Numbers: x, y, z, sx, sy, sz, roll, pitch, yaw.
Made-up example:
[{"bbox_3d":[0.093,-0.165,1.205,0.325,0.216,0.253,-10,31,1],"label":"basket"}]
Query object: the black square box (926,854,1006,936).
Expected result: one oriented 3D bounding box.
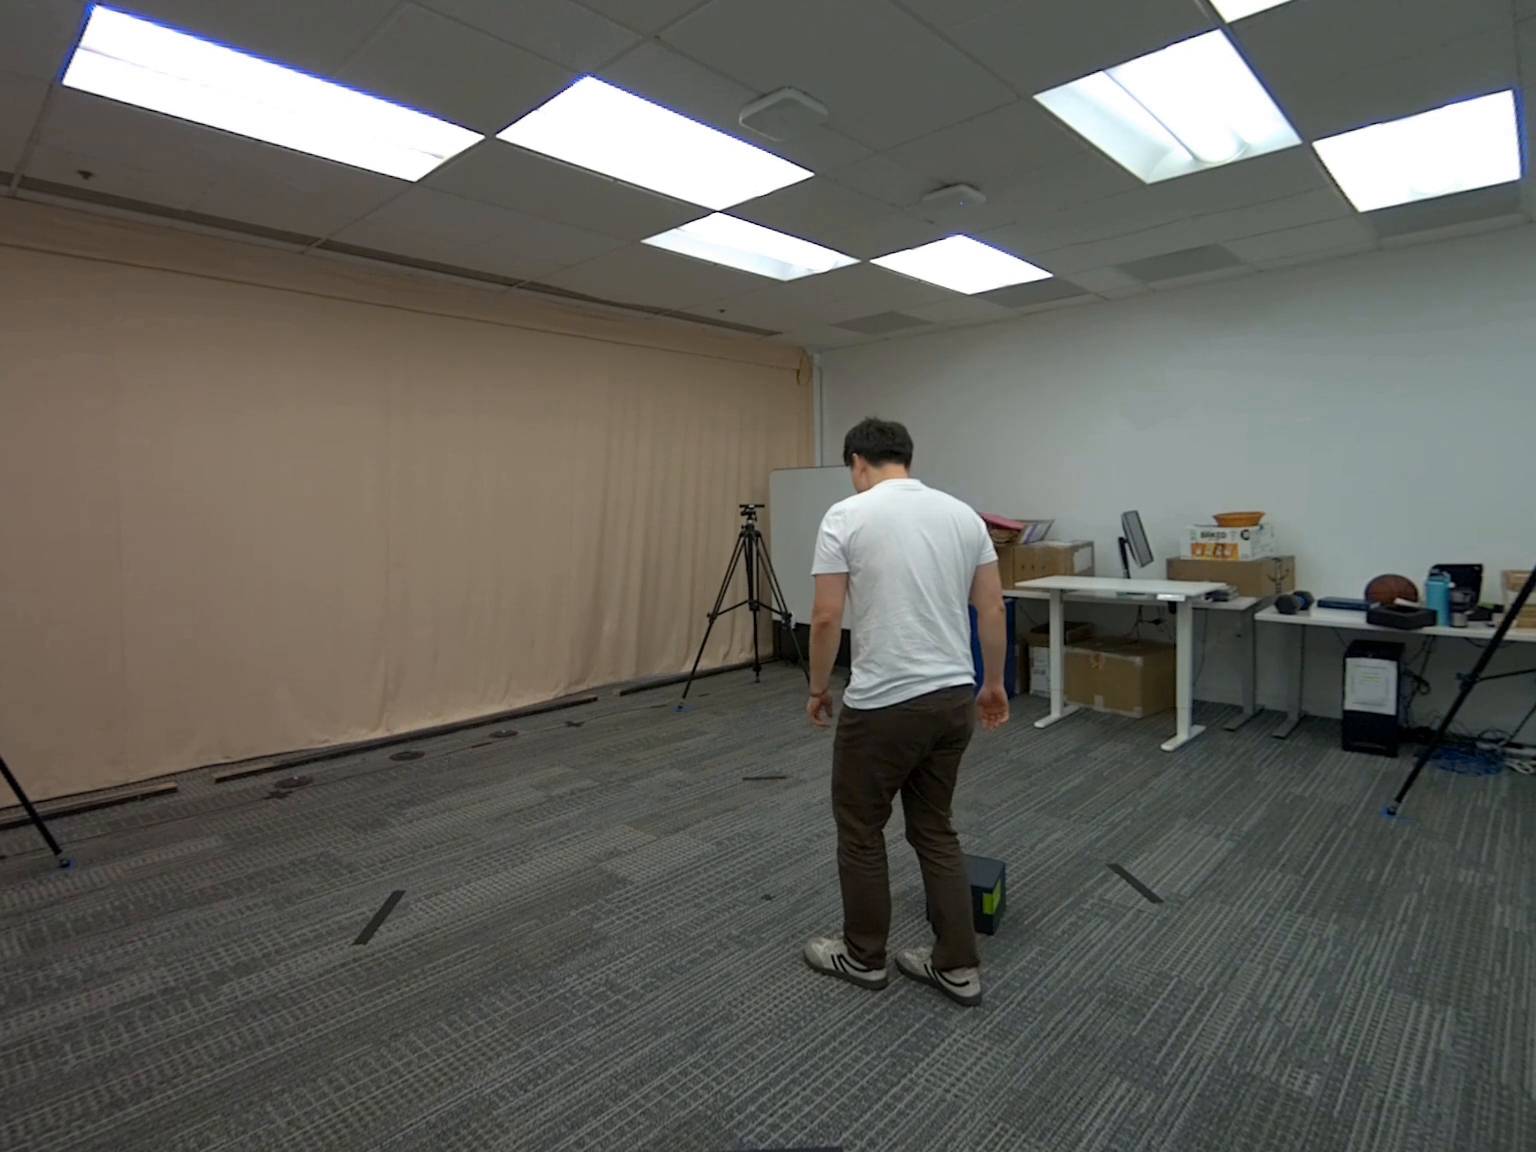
[{"bbox_3d":[0.673,1.057,2.831,0.223,0.155,0.222,1,5,27],"label":"black square box"}]
